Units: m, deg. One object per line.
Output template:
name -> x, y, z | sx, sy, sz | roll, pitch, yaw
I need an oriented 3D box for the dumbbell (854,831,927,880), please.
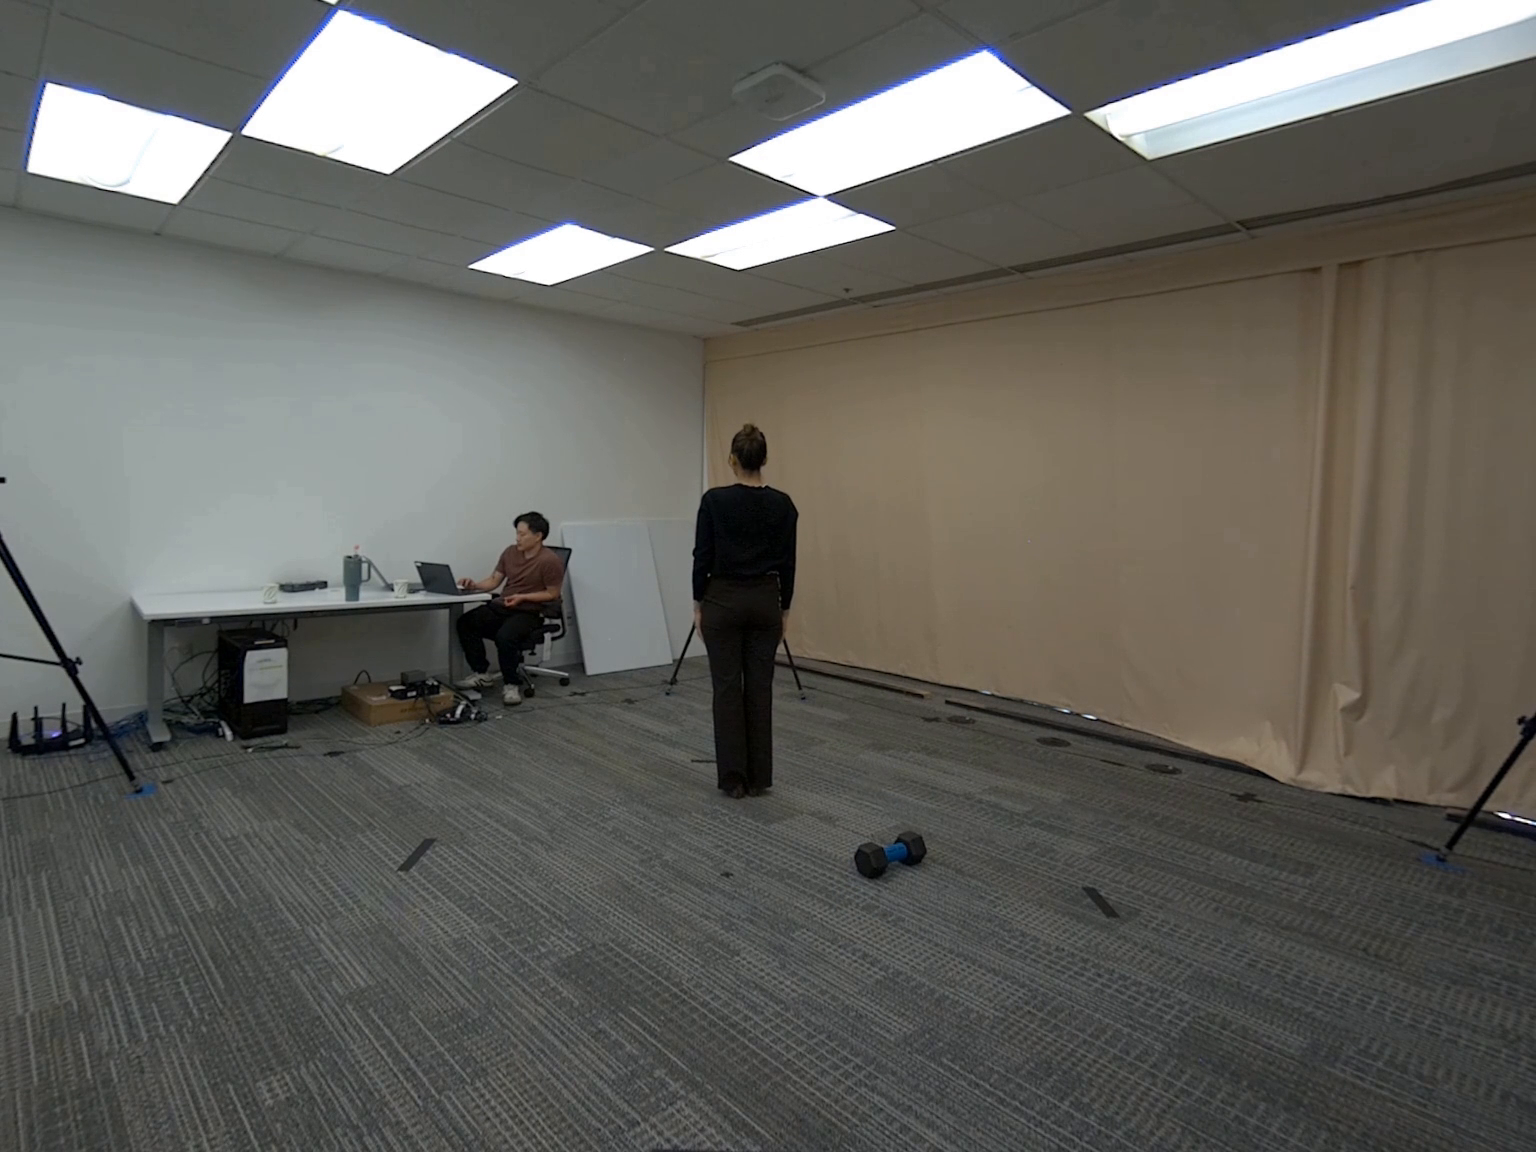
dumbbell -> 0.460, 1.055, 3.189 | 0.287, 0.122, 0.112 | -2, 36, -37
